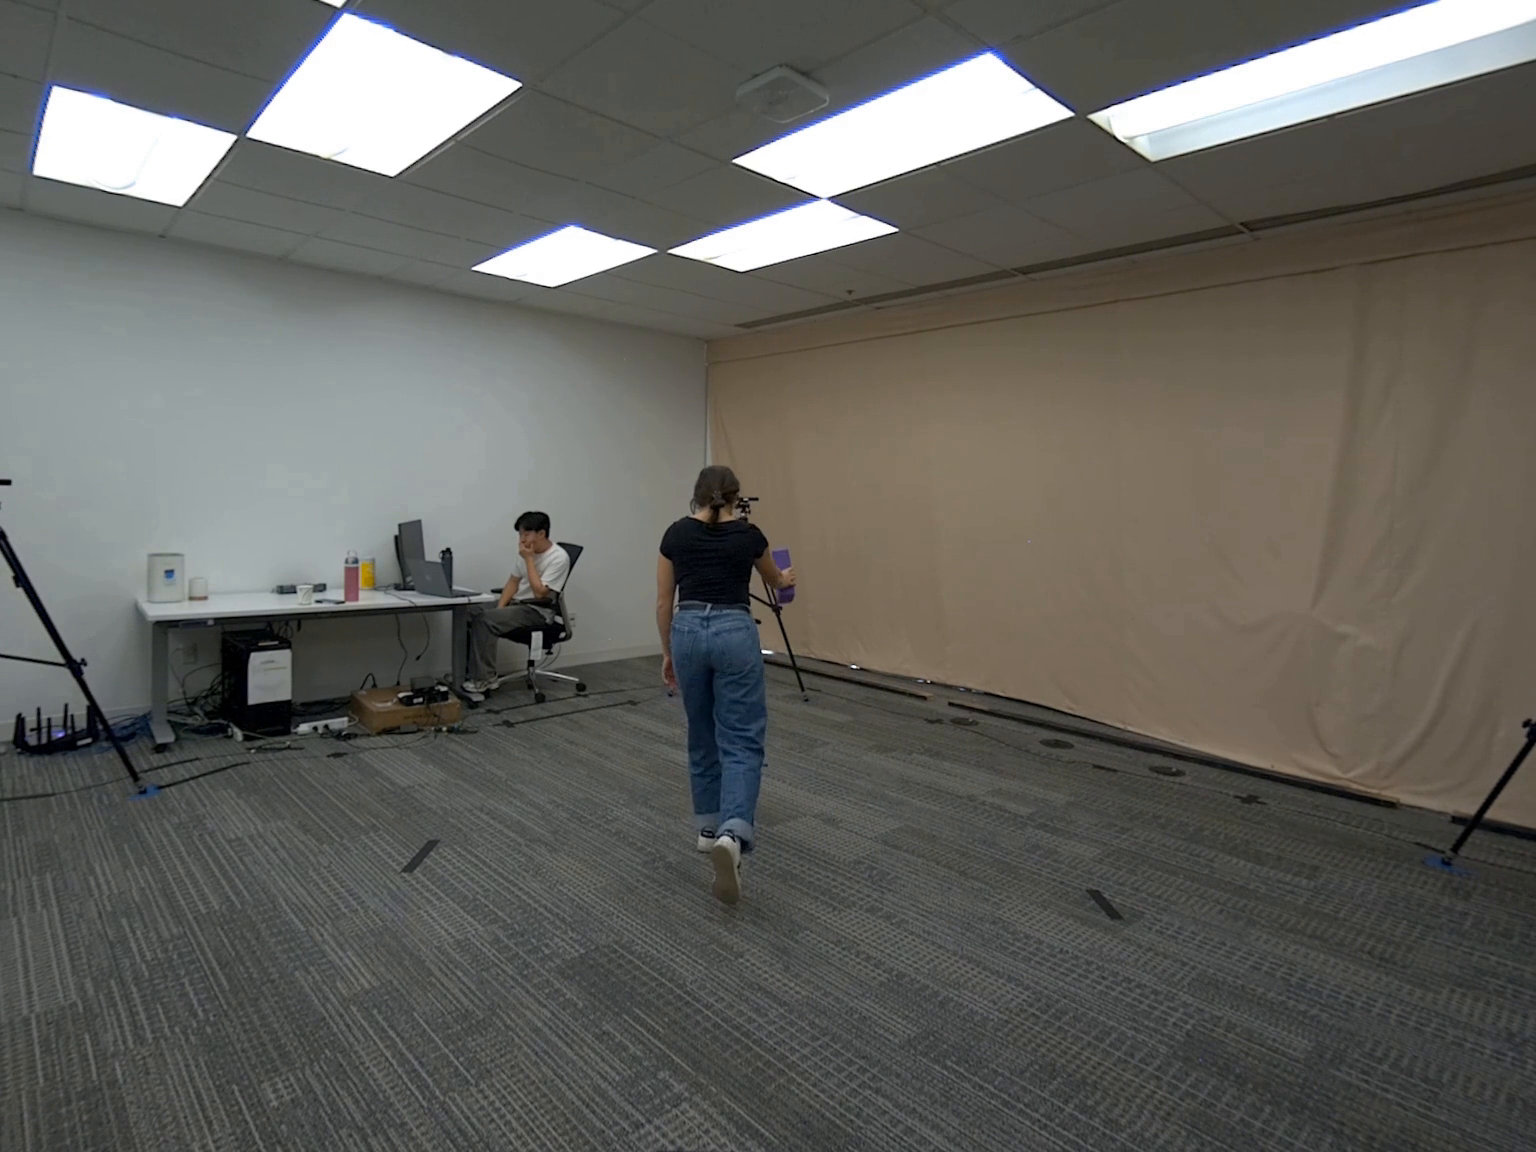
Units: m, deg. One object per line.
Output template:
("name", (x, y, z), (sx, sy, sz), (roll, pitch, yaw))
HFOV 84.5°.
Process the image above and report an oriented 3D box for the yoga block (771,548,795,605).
("yoga block", (0.053, 0.002, 3.884), (0.076, 0.231, 0.148), (-4, -11, -2))
